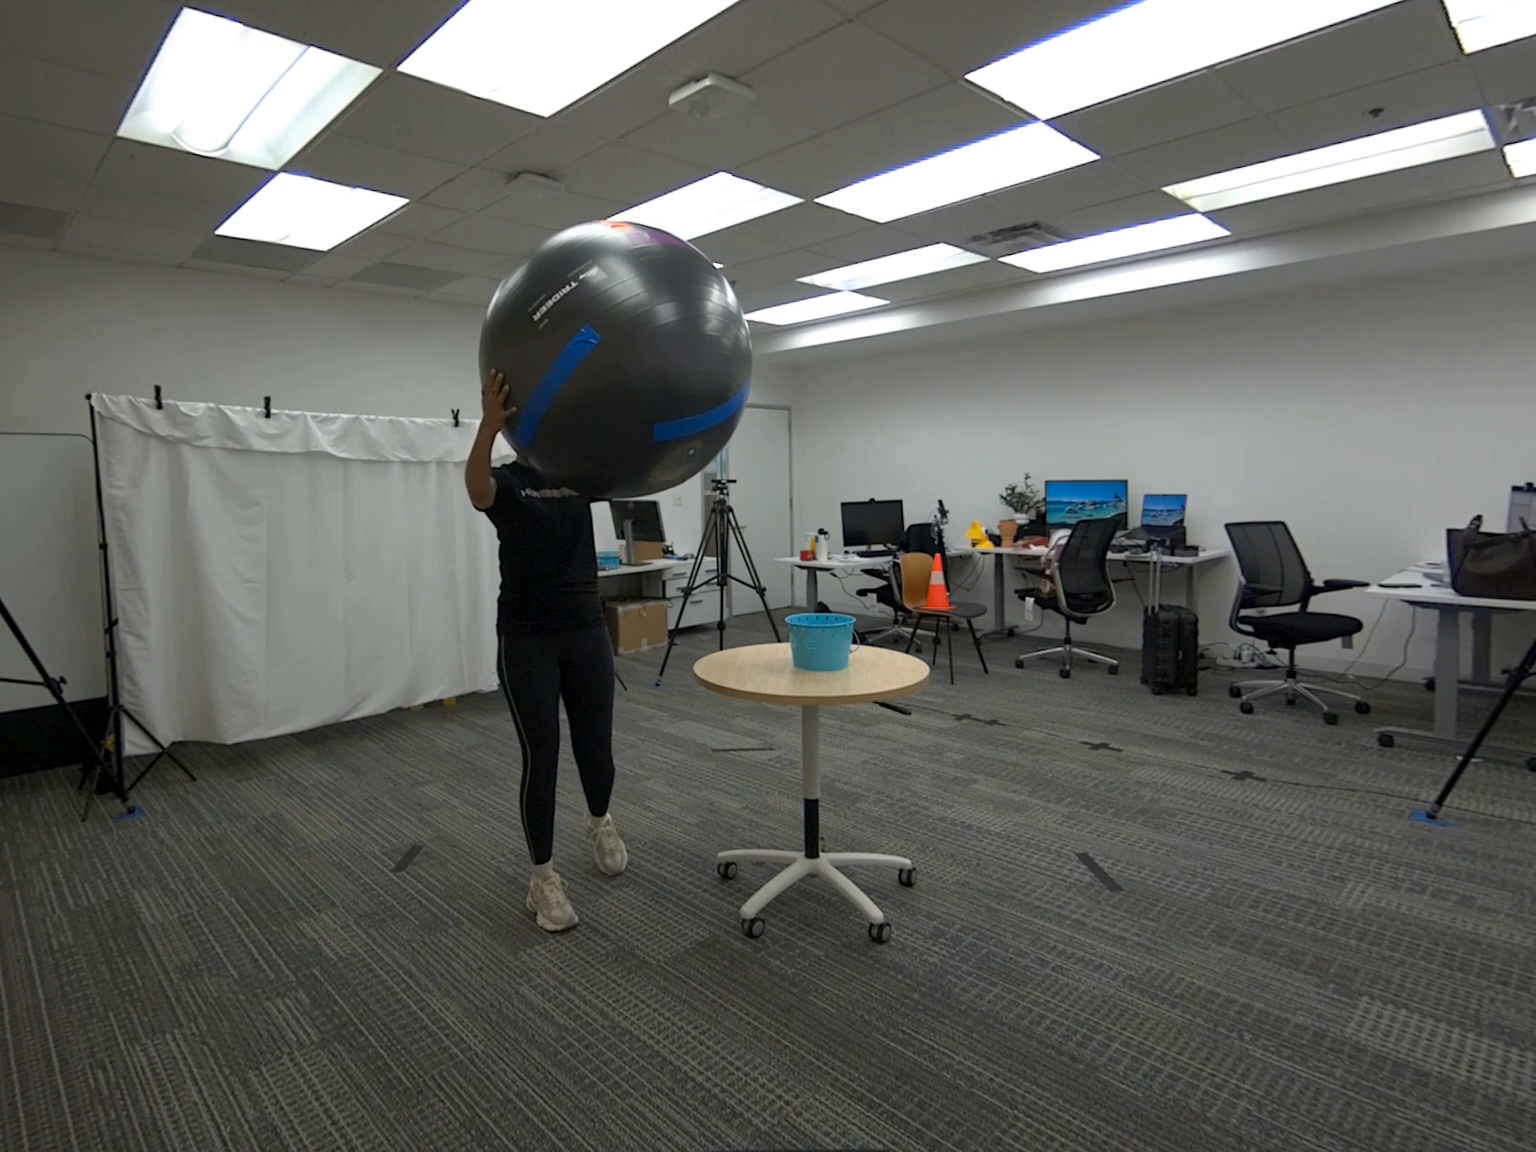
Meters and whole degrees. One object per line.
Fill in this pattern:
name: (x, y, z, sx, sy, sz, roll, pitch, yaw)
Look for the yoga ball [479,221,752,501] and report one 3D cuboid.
yoga ball: (-0.415, -0.589, 2.392, 0.757, 0.755, 0.762, -1, 5, -2)
